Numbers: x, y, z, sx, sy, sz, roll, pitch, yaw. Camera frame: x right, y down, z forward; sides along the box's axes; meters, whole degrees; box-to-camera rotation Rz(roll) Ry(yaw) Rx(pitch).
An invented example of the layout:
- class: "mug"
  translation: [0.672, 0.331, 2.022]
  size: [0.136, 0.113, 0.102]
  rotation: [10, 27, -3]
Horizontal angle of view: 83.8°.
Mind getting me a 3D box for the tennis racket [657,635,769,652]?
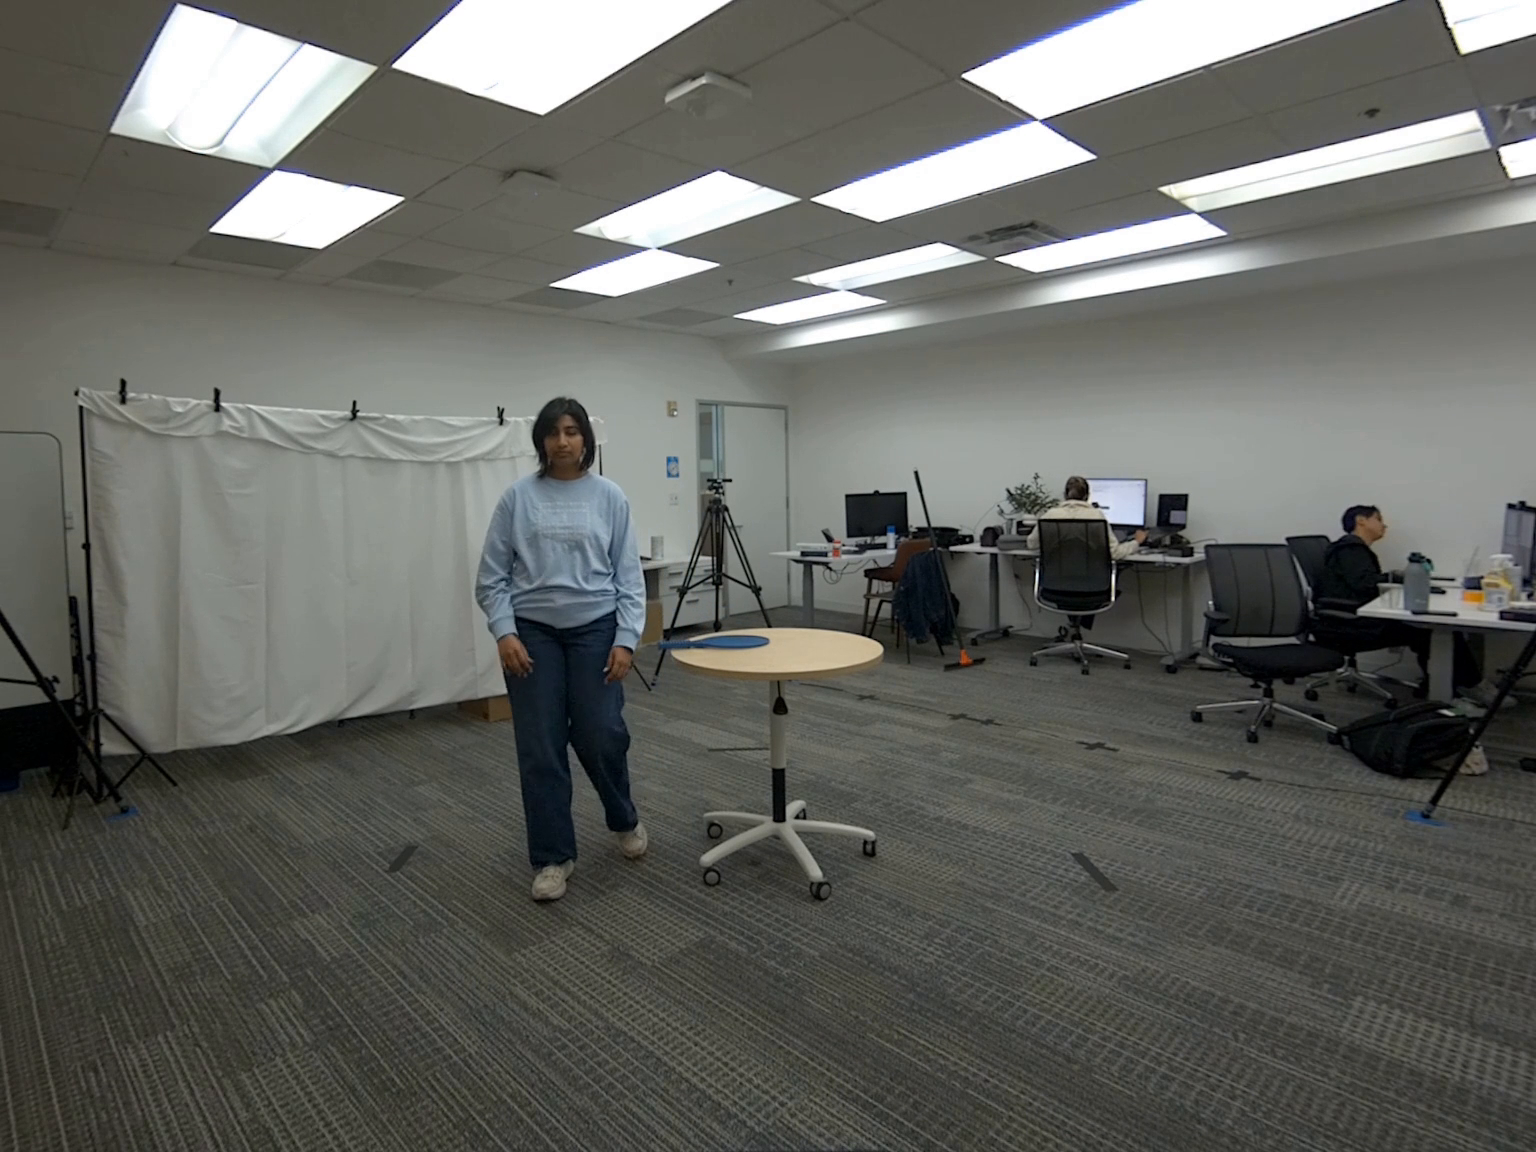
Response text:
- class: "tennis racket"
  translation: [-0.204, 0.244, 3.176]
  size: [0.426, 0.031, 0.218]
  rotation: [-2, 8, -18]
